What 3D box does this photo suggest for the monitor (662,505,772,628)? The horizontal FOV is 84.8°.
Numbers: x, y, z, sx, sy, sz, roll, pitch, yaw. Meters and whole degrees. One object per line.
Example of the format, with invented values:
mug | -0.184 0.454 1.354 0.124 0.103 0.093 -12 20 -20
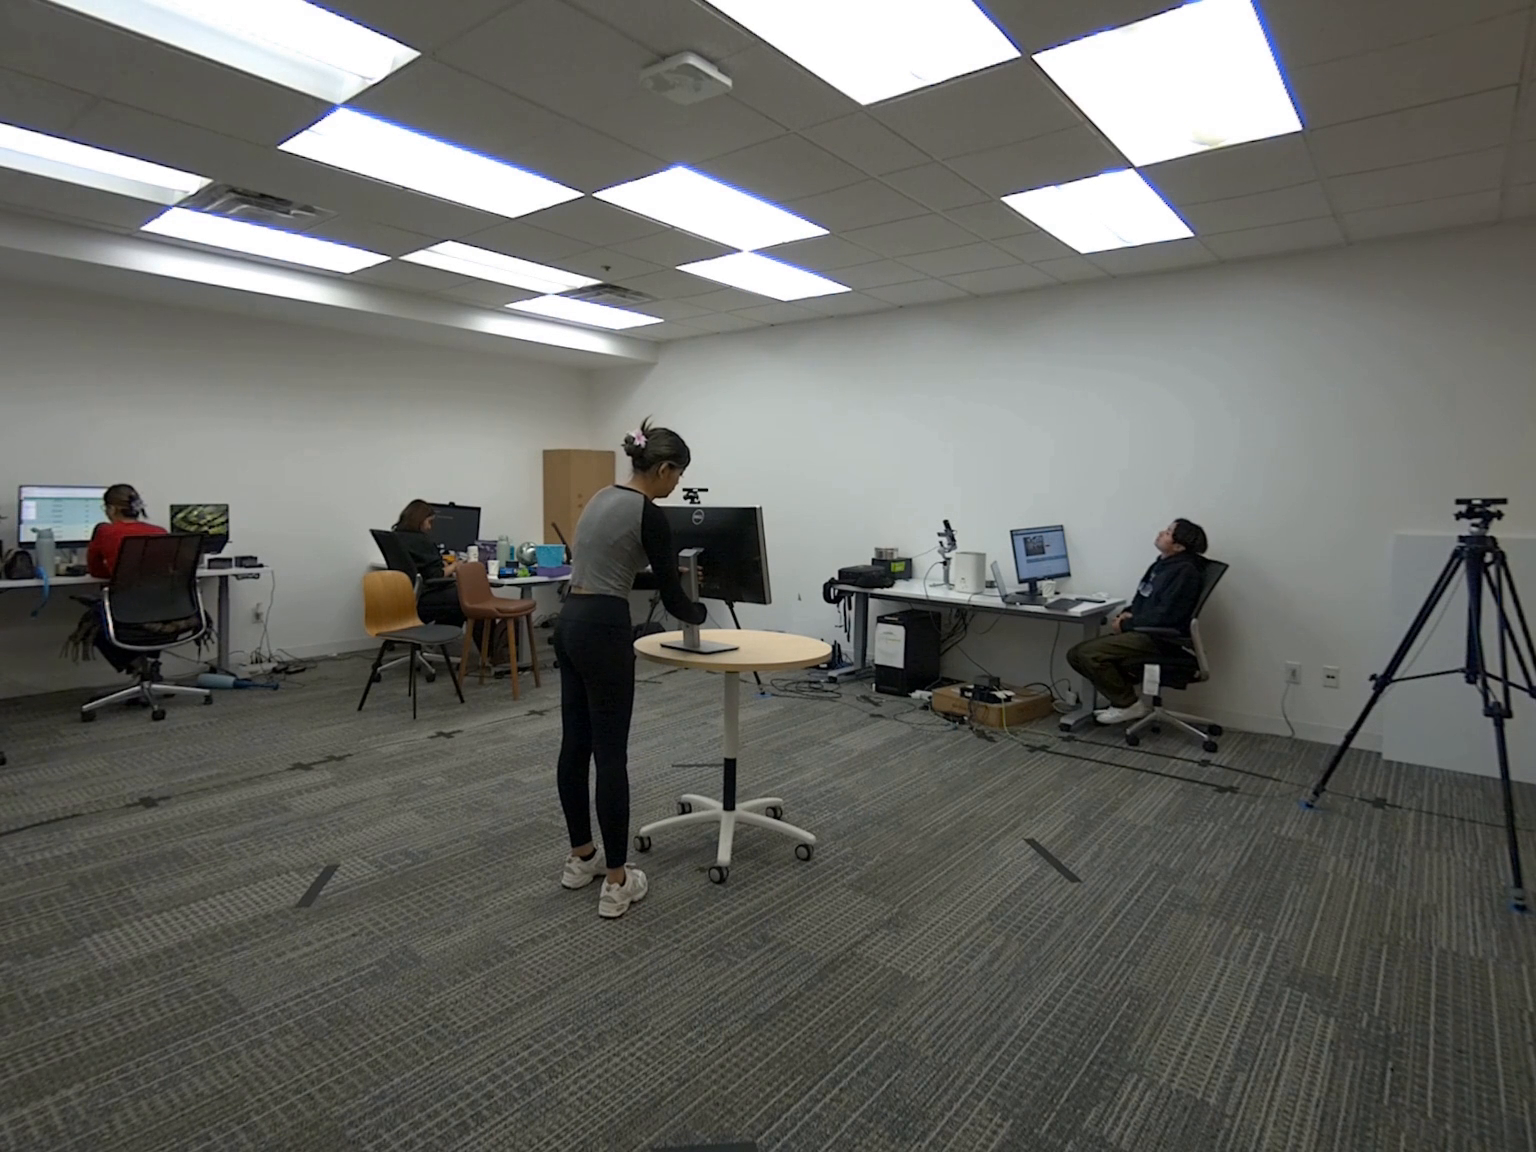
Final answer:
monitor | -0.263 0.005 3.203 0.557 0.522 0.181 4 2 38
